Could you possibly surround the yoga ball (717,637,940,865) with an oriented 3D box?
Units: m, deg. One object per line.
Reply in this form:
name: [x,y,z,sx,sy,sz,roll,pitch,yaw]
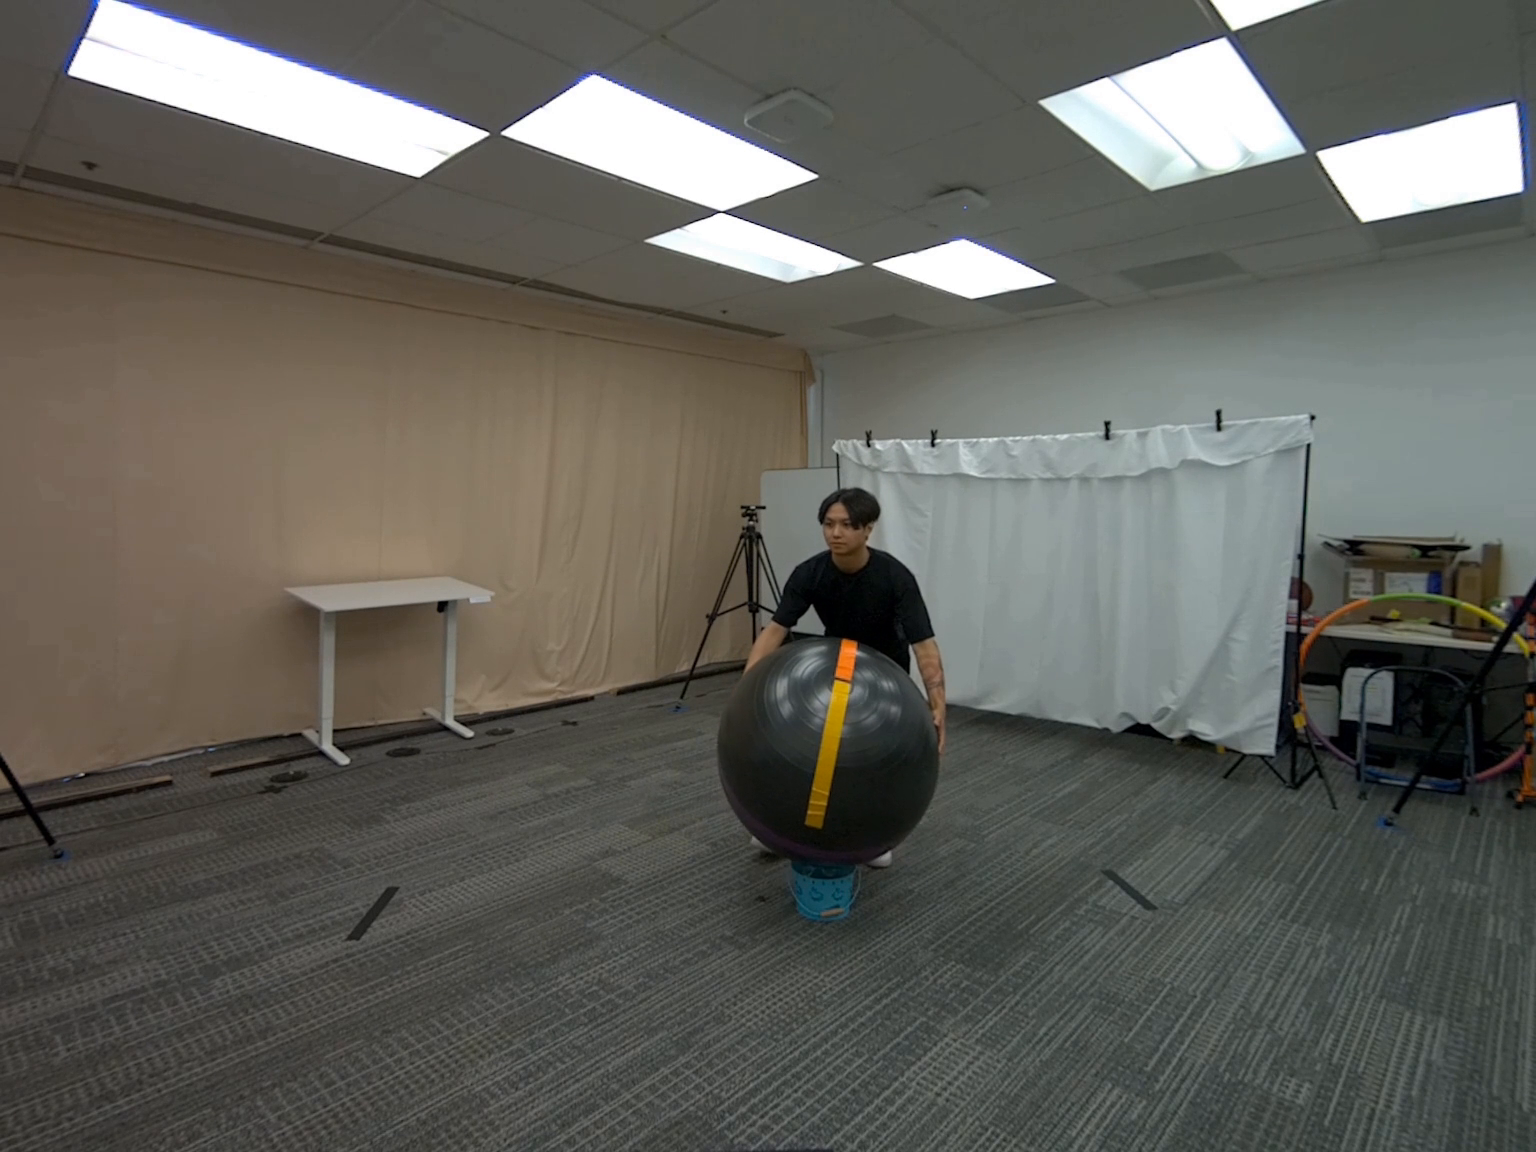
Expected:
yoga ball: [0.206,0.597,2.885,0.757,0.756,0.760,0,4,-2]
